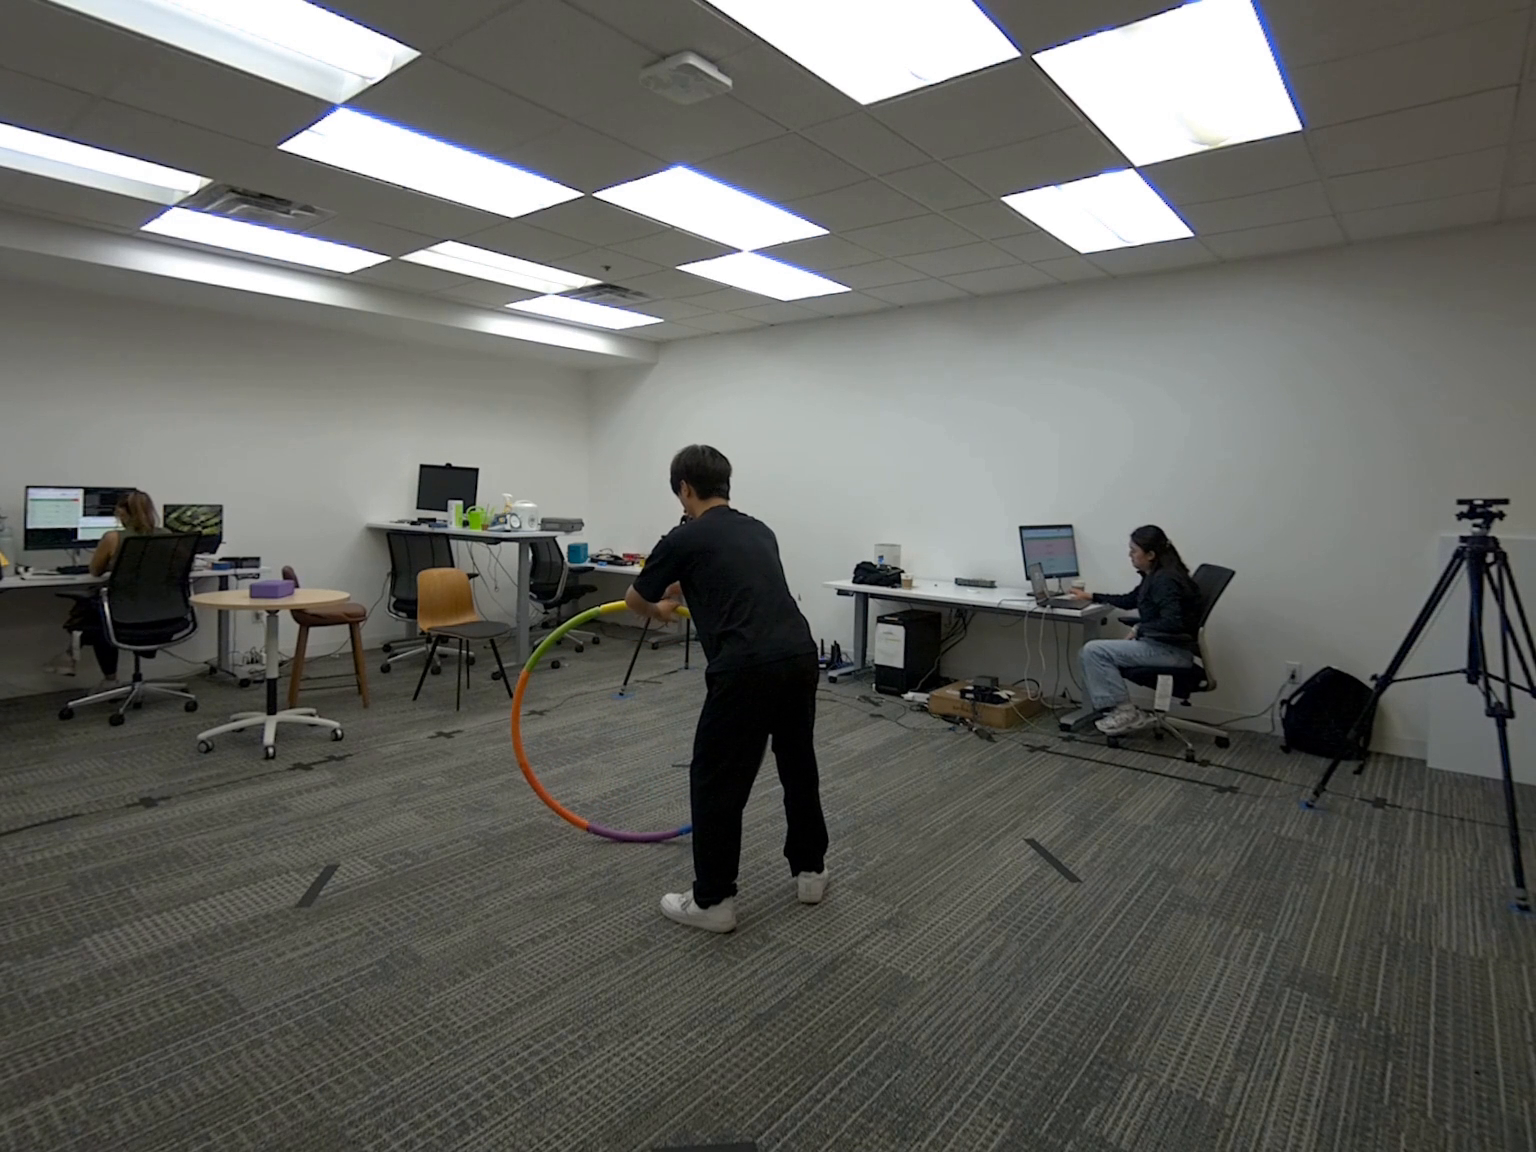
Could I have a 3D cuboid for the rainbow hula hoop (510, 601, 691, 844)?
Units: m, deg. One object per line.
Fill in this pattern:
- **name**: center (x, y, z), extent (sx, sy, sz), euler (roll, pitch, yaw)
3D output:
- **rainbow hula hoop**: center (-0.512, 0.575, 3.272), extent (0.975, 0.970, 0.036), euler (1, 9, -3)
